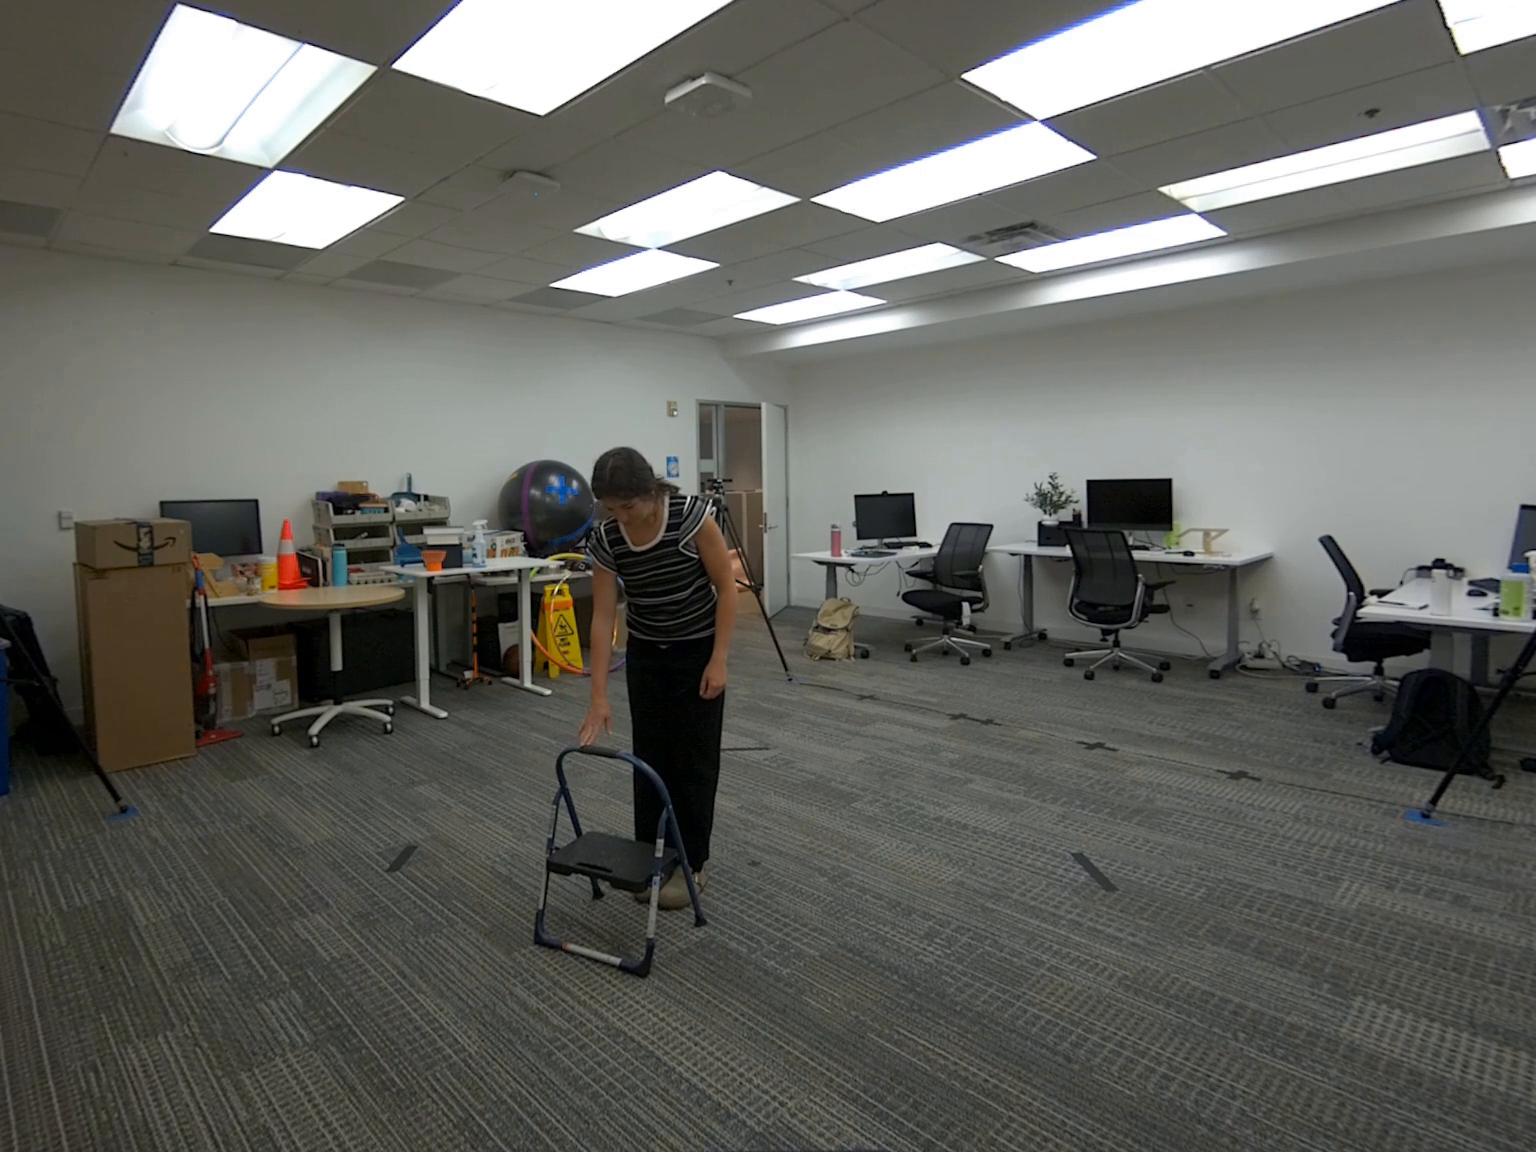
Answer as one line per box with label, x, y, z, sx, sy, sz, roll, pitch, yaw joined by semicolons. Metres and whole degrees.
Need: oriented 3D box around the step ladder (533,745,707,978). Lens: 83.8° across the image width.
step ladder;-0.464;0.808;2.627;0.441;0.603;0.342;1;5;26
